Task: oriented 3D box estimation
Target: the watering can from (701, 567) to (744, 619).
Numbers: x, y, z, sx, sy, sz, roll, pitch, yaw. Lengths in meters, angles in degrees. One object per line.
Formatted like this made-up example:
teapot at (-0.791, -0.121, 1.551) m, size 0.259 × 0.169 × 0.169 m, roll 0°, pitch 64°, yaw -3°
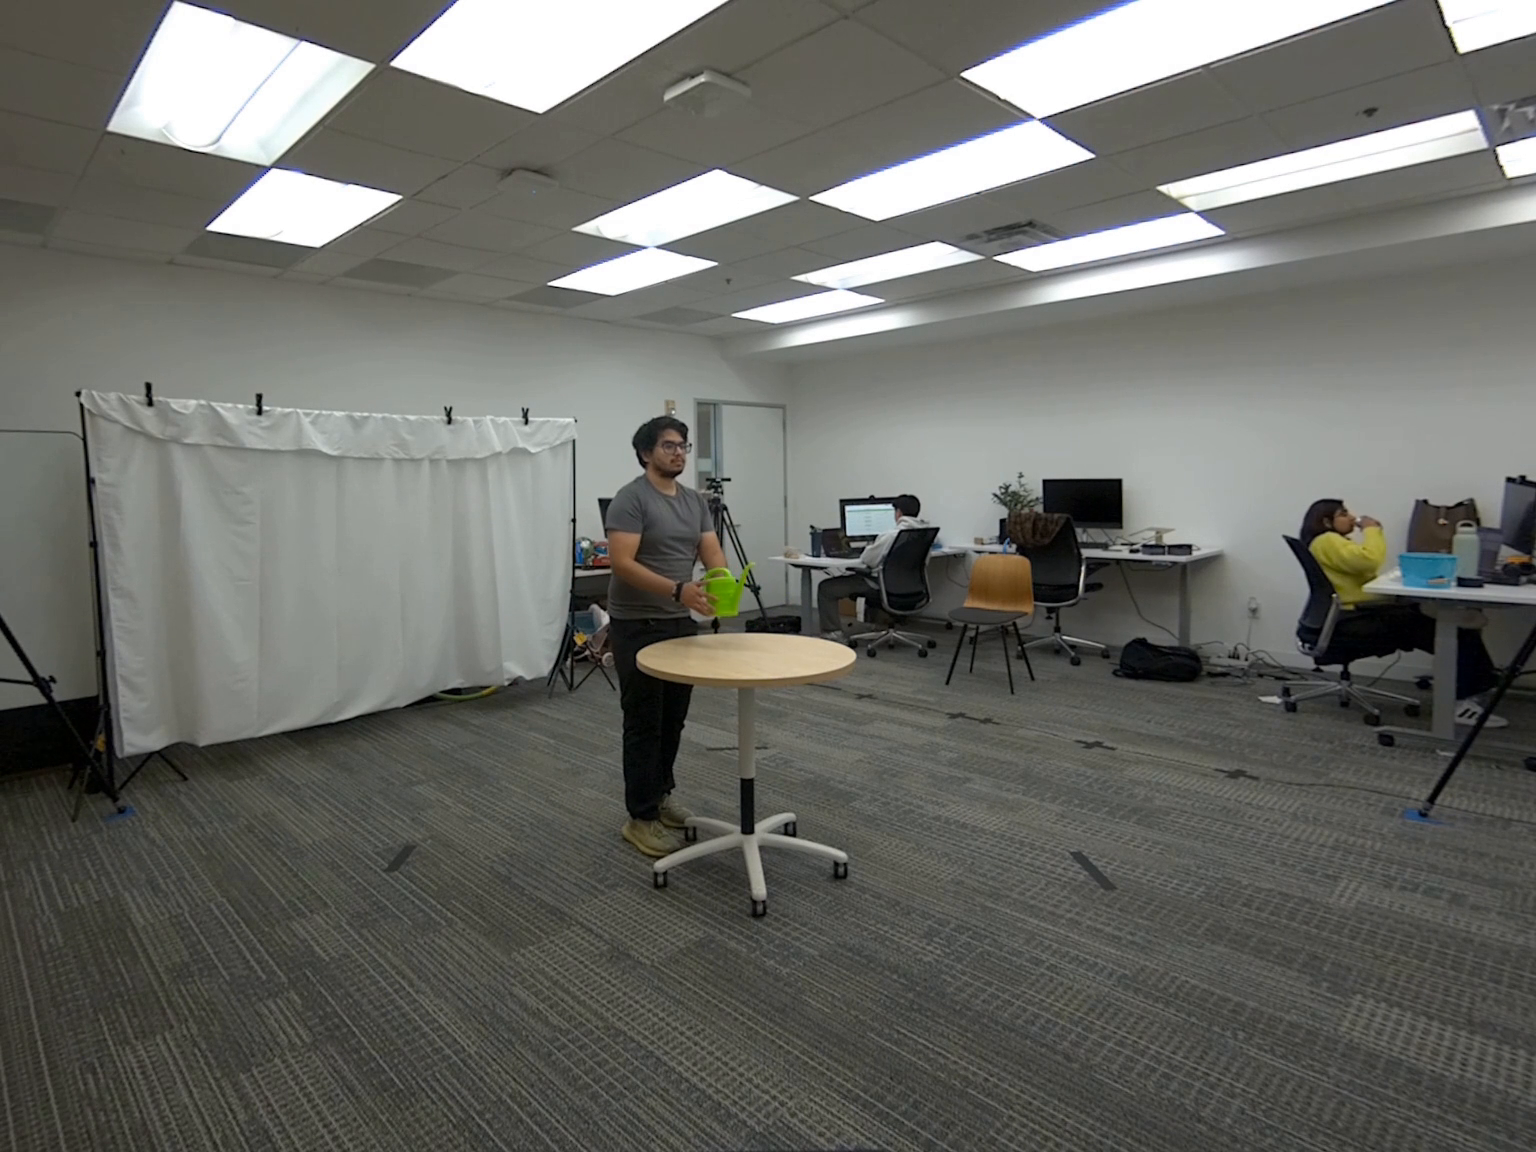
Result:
watering can at (-0.147, 0.055, 3.044) m, size 0.096 × 0.178 × 0.283 m, roll -2°, pitch -5°, yaw -29°
